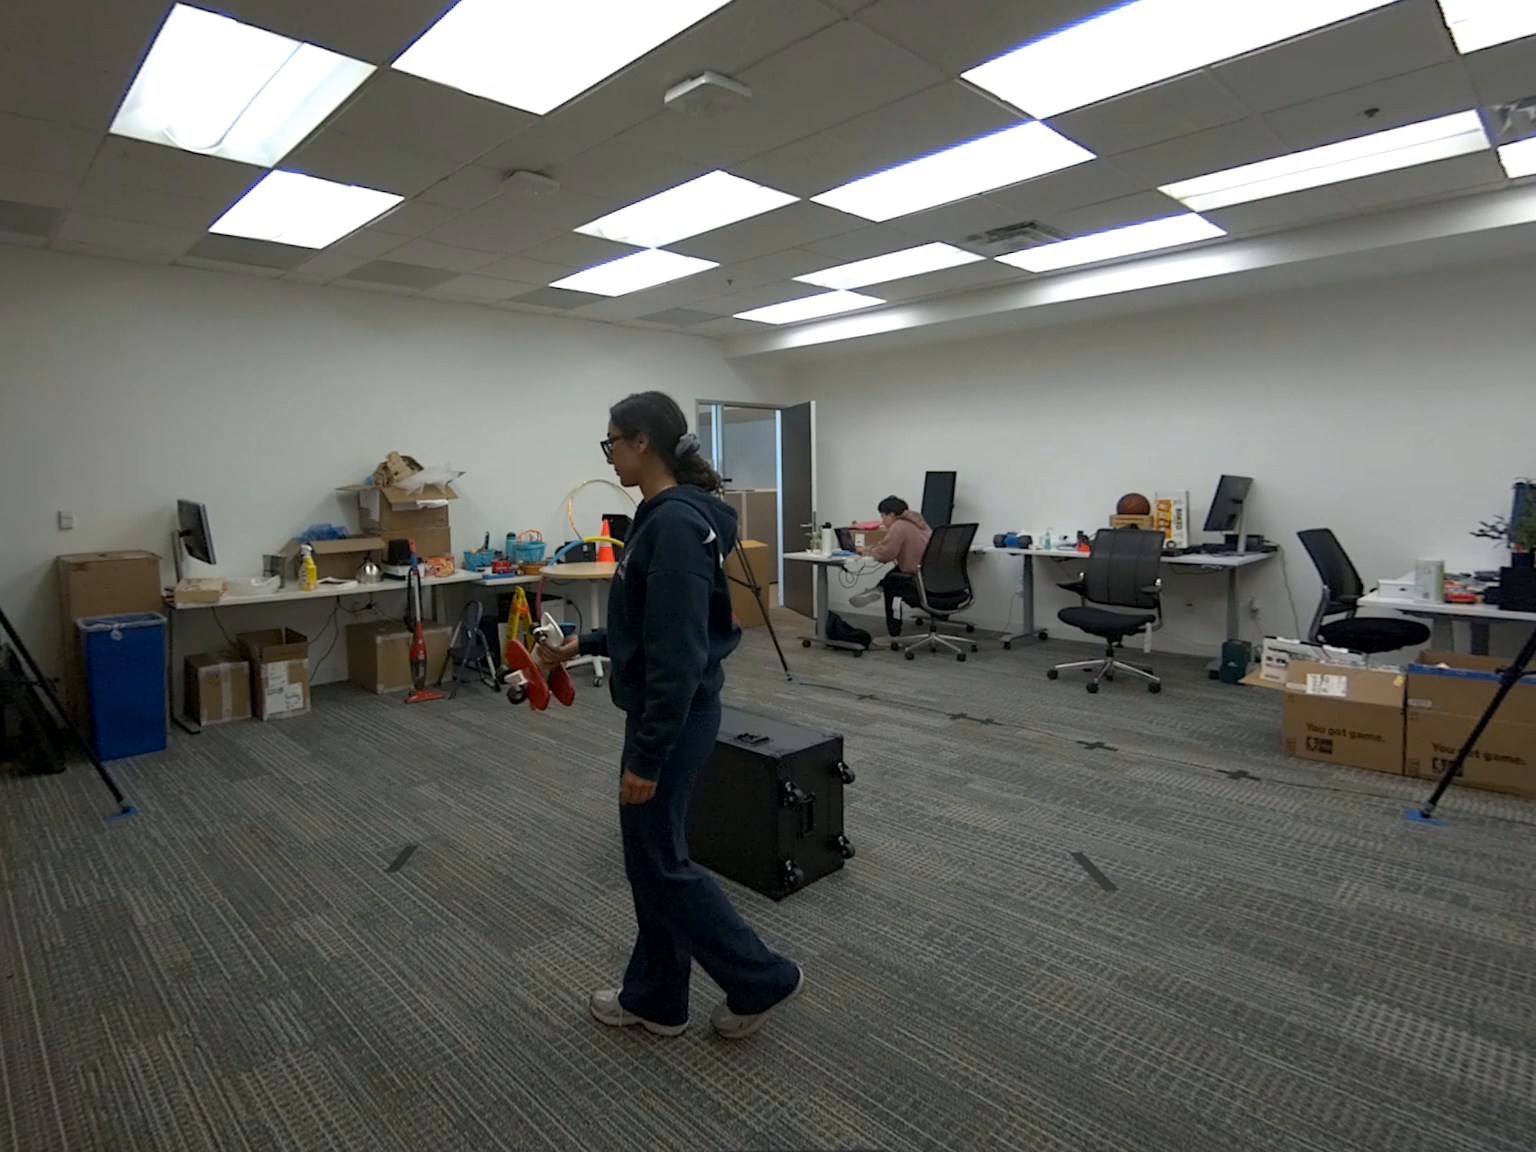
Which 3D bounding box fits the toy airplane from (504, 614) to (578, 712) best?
[{"bbox_3d":[-0.610,0.245,2.346,0.261,0.258,0.151,-33,-31,31],"label":"toy airplane"}]
